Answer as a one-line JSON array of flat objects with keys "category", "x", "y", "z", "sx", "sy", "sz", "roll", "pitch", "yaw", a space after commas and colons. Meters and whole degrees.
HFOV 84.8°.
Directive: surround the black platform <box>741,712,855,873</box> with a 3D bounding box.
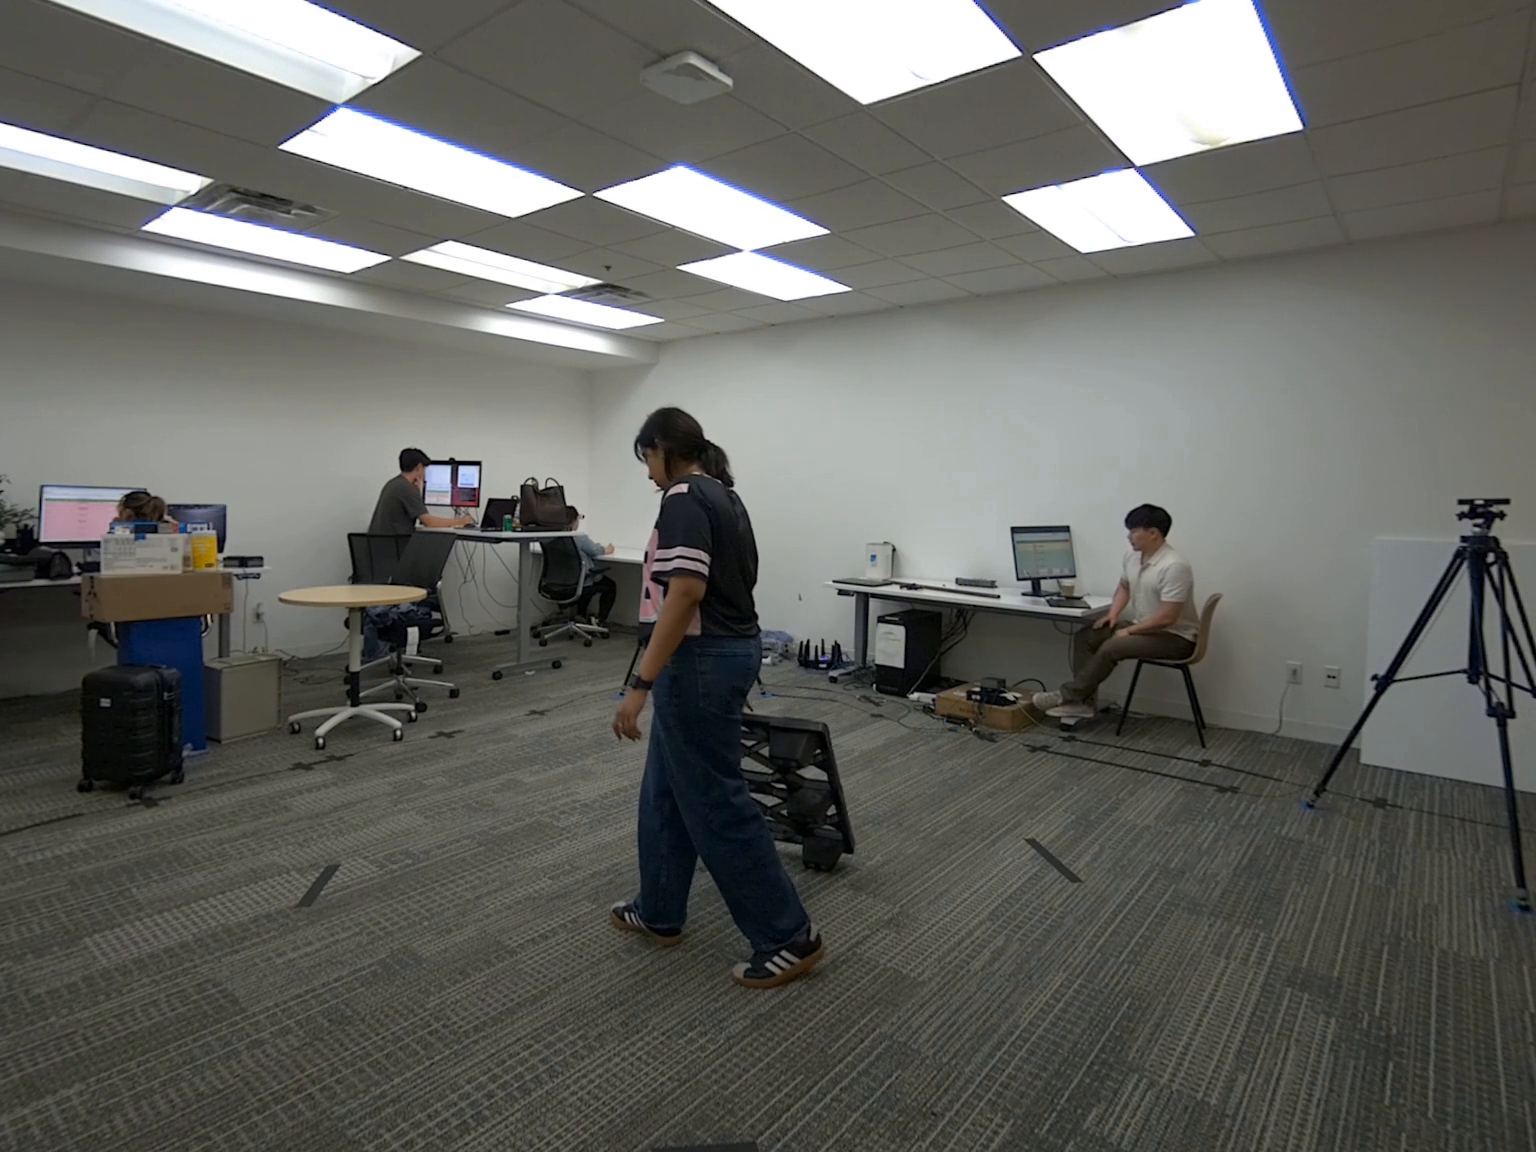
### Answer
[{"category": "black platform", "x": -0.050, "y": 0.765, "z": 2.998, "sx": 0.619, "sy": 0.777, "sz": 0.145, "roll": 5, "pitch": 45, "yaw": 20}]
